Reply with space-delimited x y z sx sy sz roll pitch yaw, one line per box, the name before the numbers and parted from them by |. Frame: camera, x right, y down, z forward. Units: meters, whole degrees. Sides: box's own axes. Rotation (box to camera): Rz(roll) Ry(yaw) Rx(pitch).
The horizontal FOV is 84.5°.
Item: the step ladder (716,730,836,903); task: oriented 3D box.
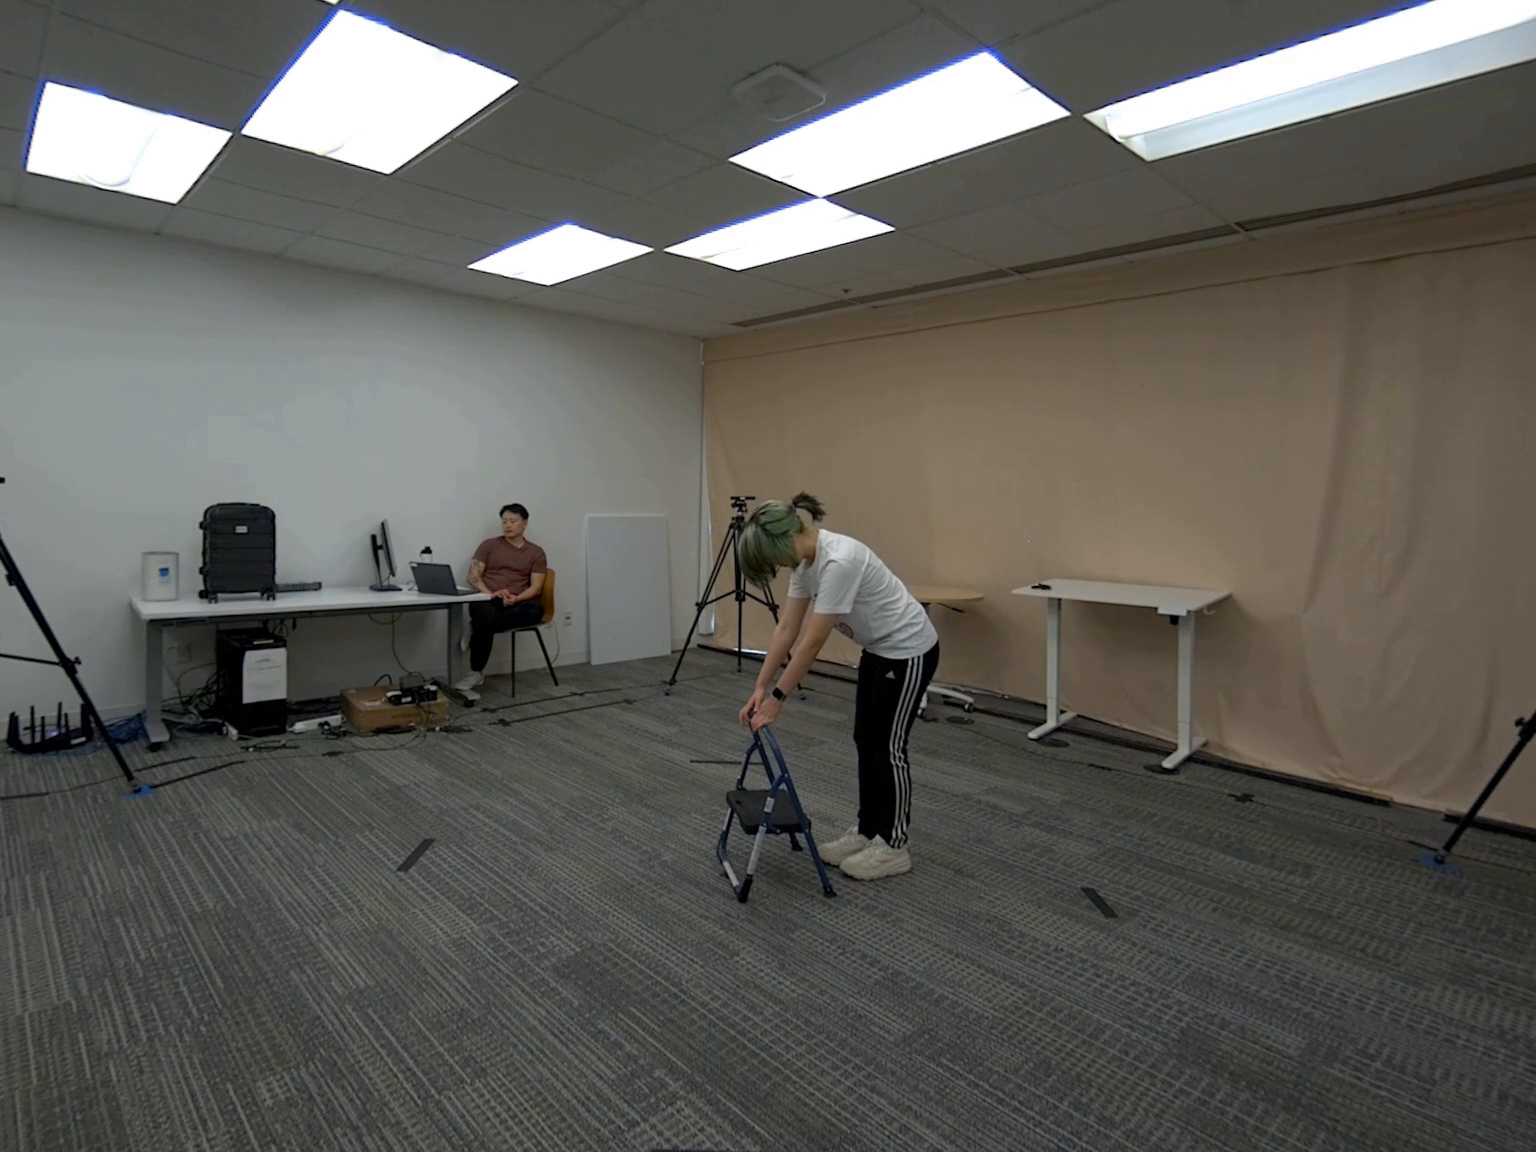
step ladder | 0.020 0.807 3.103 0.345 0.605 0.436 1 3 -15
